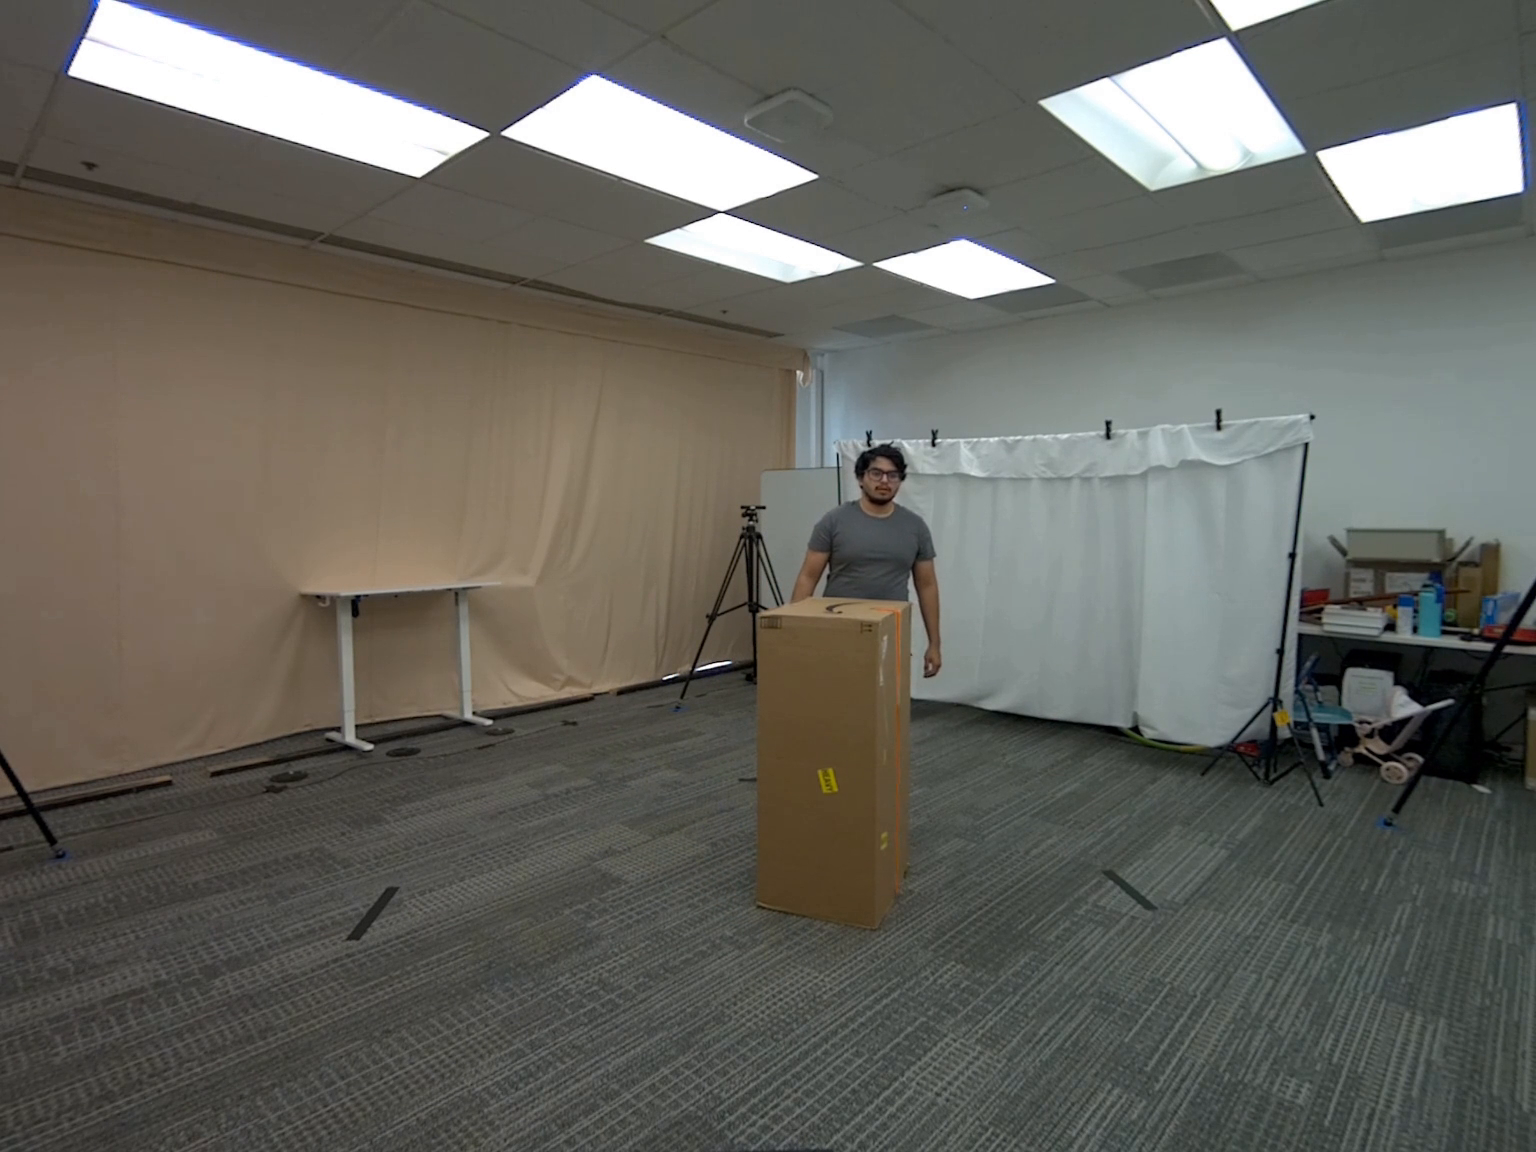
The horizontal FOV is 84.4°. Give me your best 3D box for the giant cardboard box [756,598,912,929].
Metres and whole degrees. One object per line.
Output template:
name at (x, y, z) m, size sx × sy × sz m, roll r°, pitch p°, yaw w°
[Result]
giant cardboard box at (0.259, 0.633, 3.062) m, size 0.457 × 1.025 × 0.571 m, roll 1°, pitch 3°, yaw 22°
